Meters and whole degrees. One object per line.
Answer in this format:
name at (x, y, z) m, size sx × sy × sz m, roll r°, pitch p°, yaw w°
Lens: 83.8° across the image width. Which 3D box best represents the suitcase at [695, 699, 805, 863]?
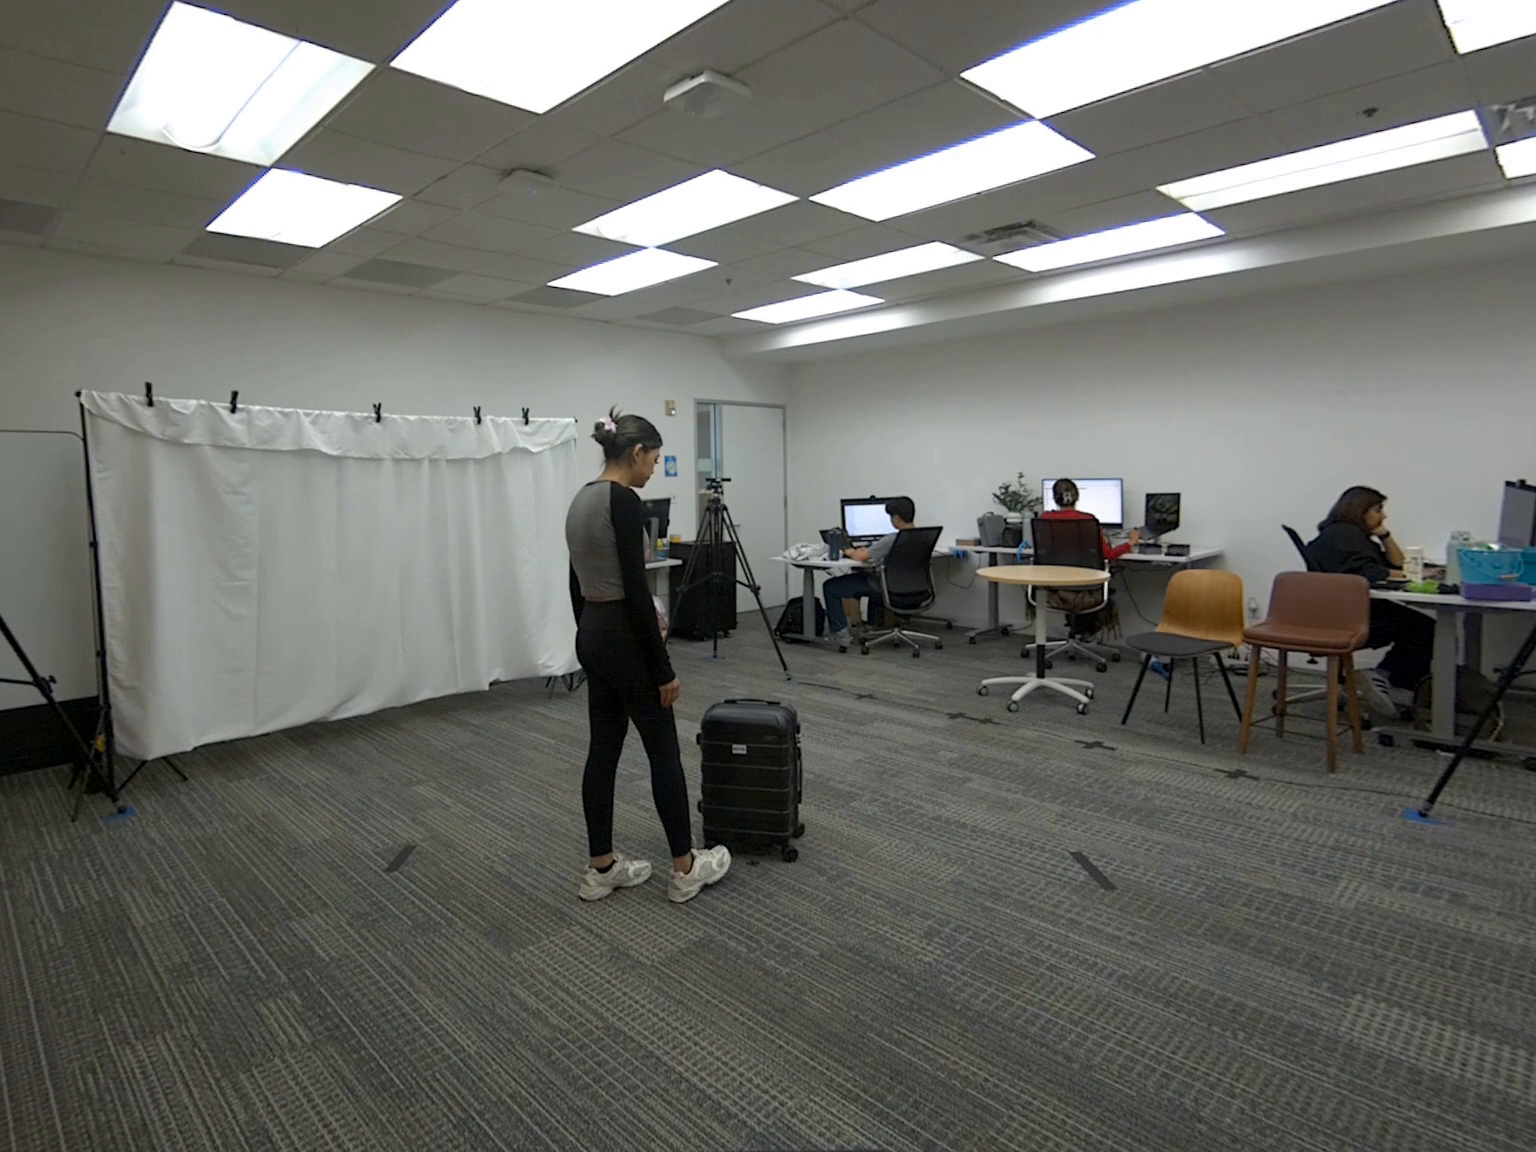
suitcase at (-0.061, 0.750, 3.237) m, size 0.381 × 0.547 × 0.245 m, roll 1°, pitch 4°, yaw 15°
